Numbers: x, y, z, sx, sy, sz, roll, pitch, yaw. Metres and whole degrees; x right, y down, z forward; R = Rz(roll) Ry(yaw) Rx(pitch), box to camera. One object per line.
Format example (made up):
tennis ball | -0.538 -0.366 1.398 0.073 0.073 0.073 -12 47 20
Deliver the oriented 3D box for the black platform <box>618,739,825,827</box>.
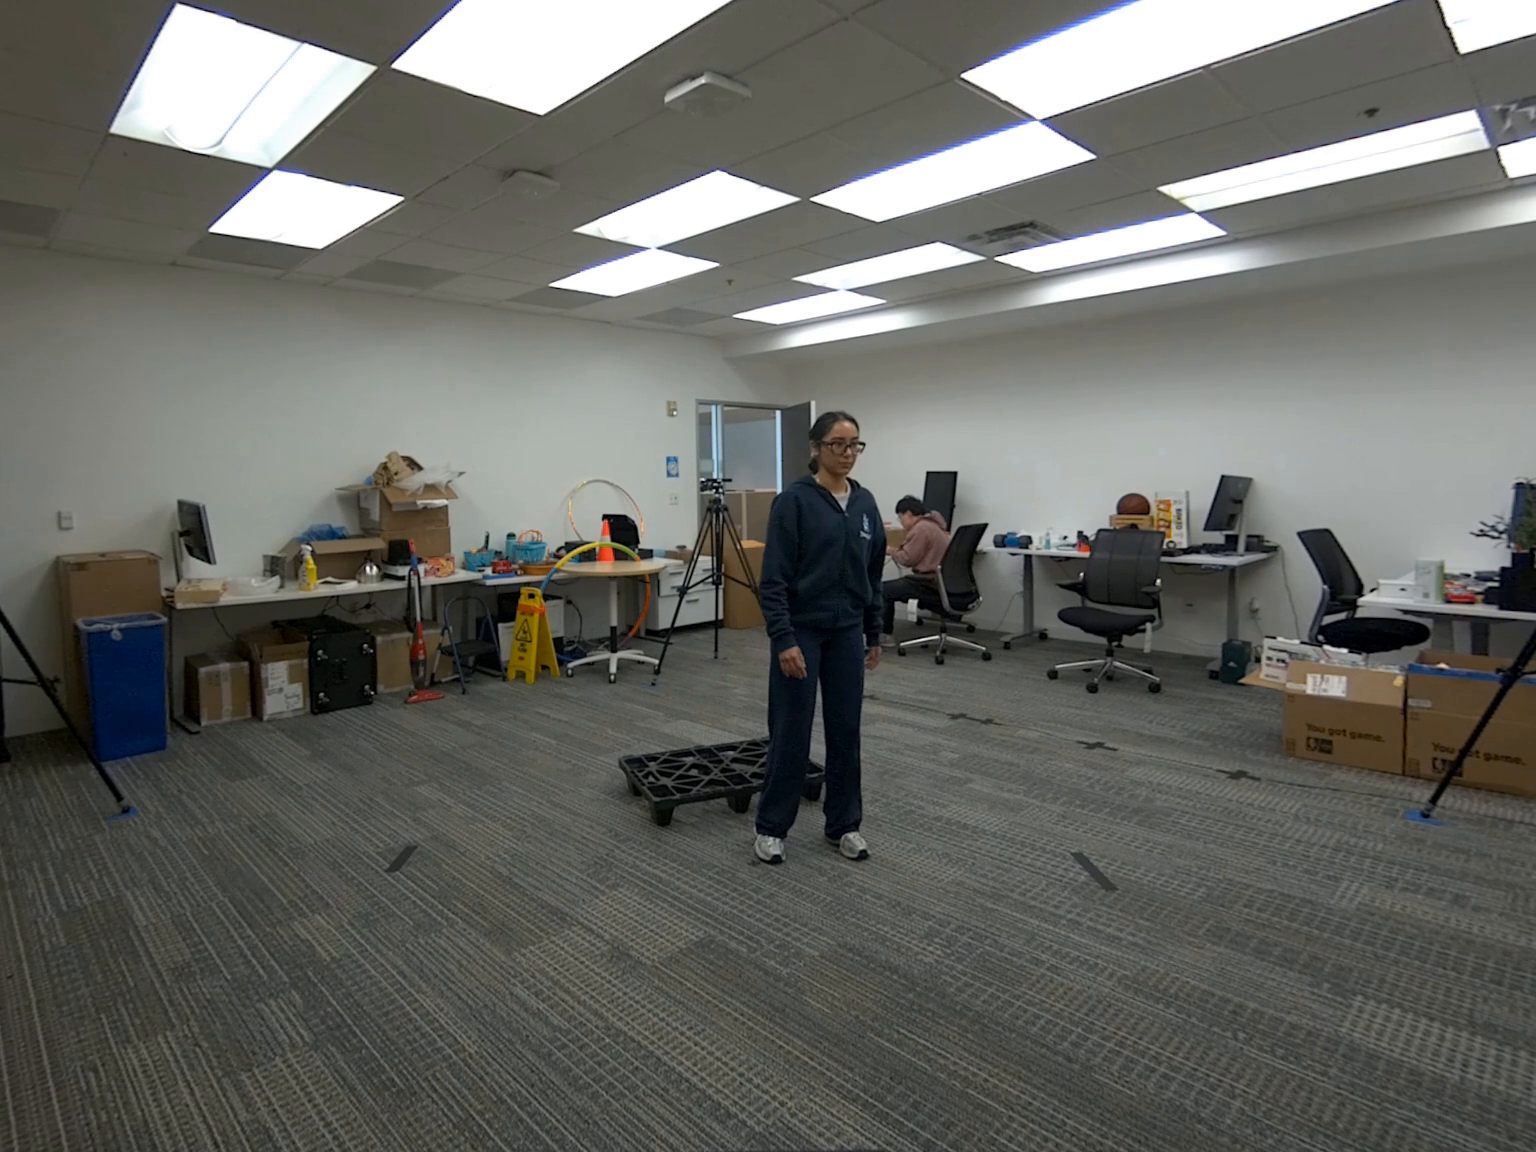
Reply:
black platform | -0.197 0.904 3.789 0.790 0.142 0.619 -4 7 -22
